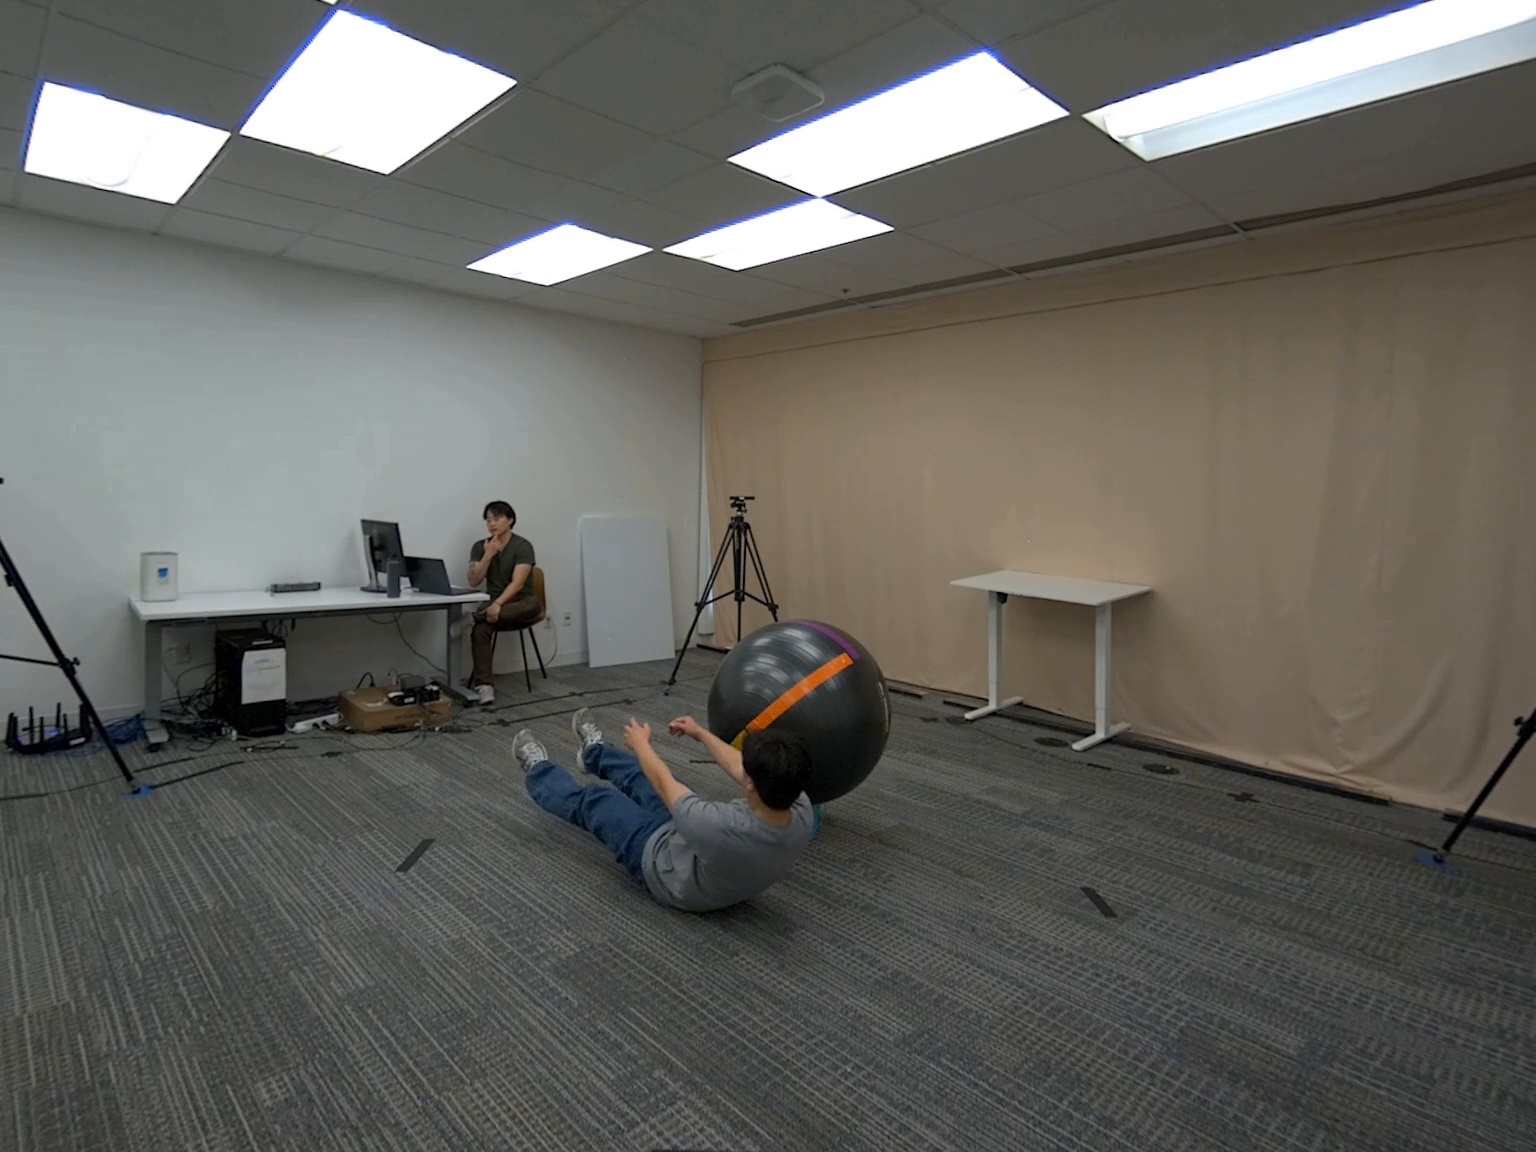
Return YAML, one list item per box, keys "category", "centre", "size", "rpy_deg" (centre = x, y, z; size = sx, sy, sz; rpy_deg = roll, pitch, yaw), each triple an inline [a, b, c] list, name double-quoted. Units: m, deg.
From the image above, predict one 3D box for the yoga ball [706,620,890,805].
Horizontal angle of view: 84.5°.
- category: "yoga ball"
  centre: [0.124, 0.564, 3.506]
  size: [0.757, 0.756, 0.761]
  rpy_deg: [1, 4, -1]
